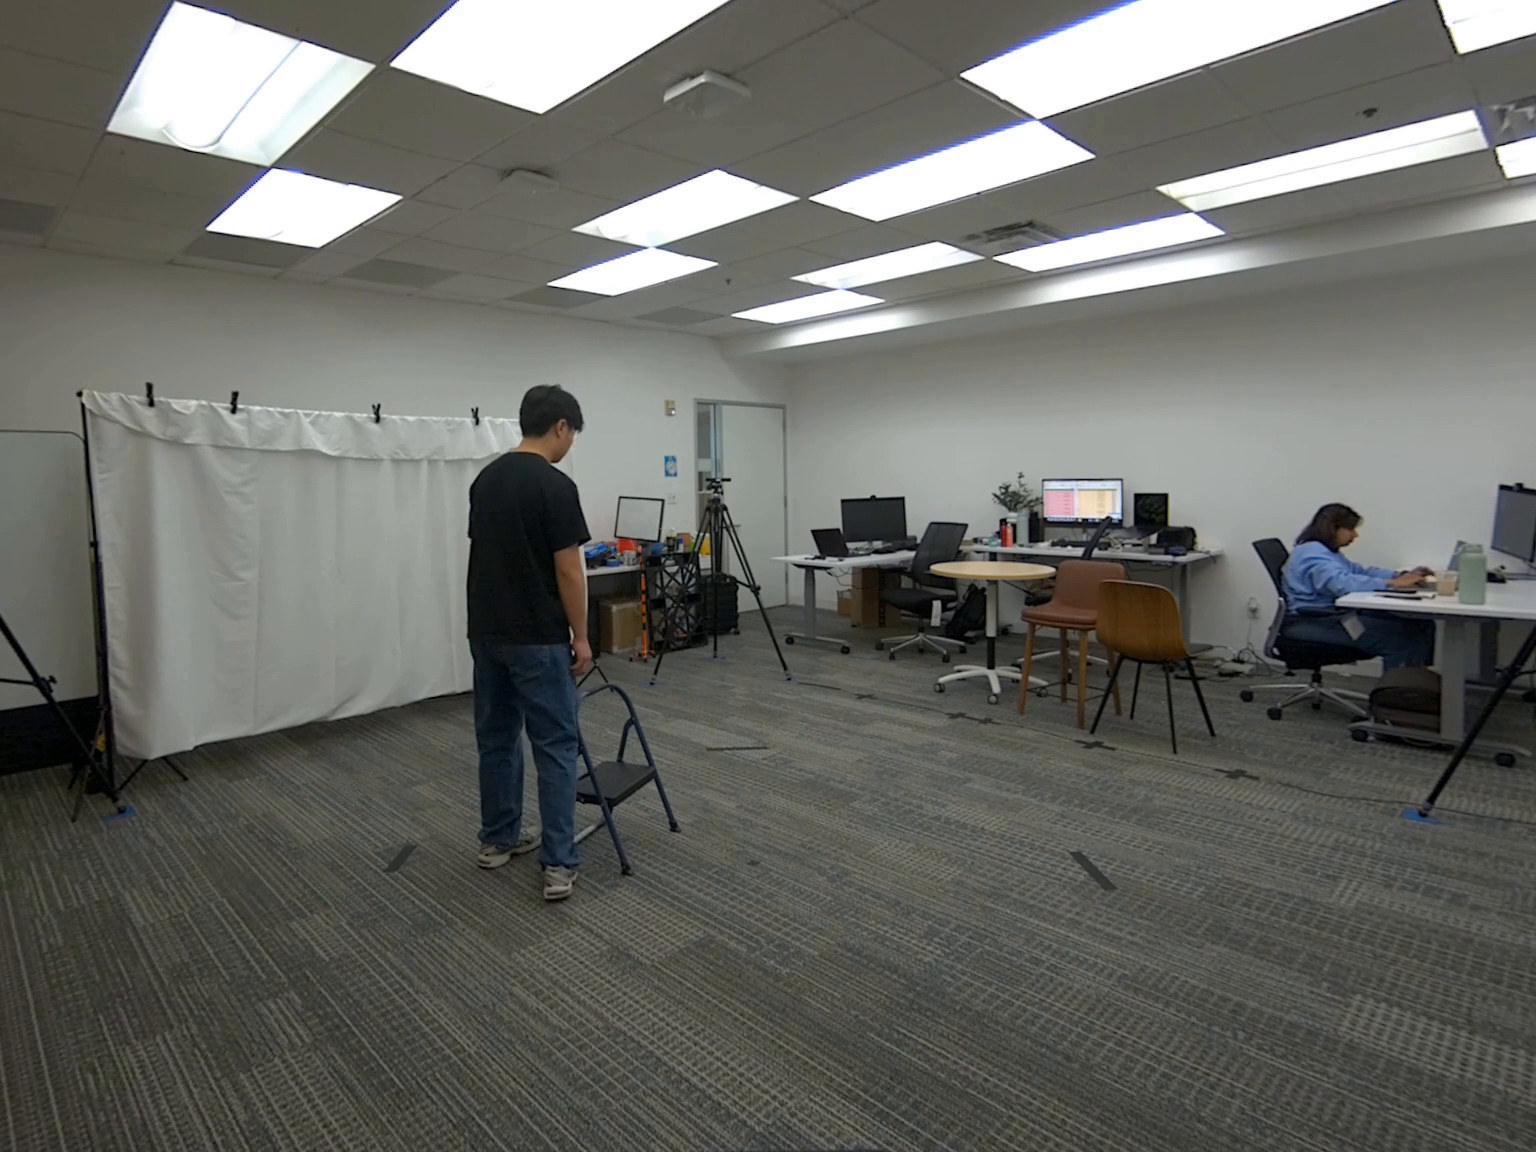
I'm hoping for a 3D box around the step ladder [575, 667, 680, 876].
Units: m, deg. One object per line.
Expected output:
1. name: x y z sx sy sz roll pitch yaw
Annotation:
1. step ladder: -0.584 0.733 3.270 0.356 0.604 0.424 0 4 20
